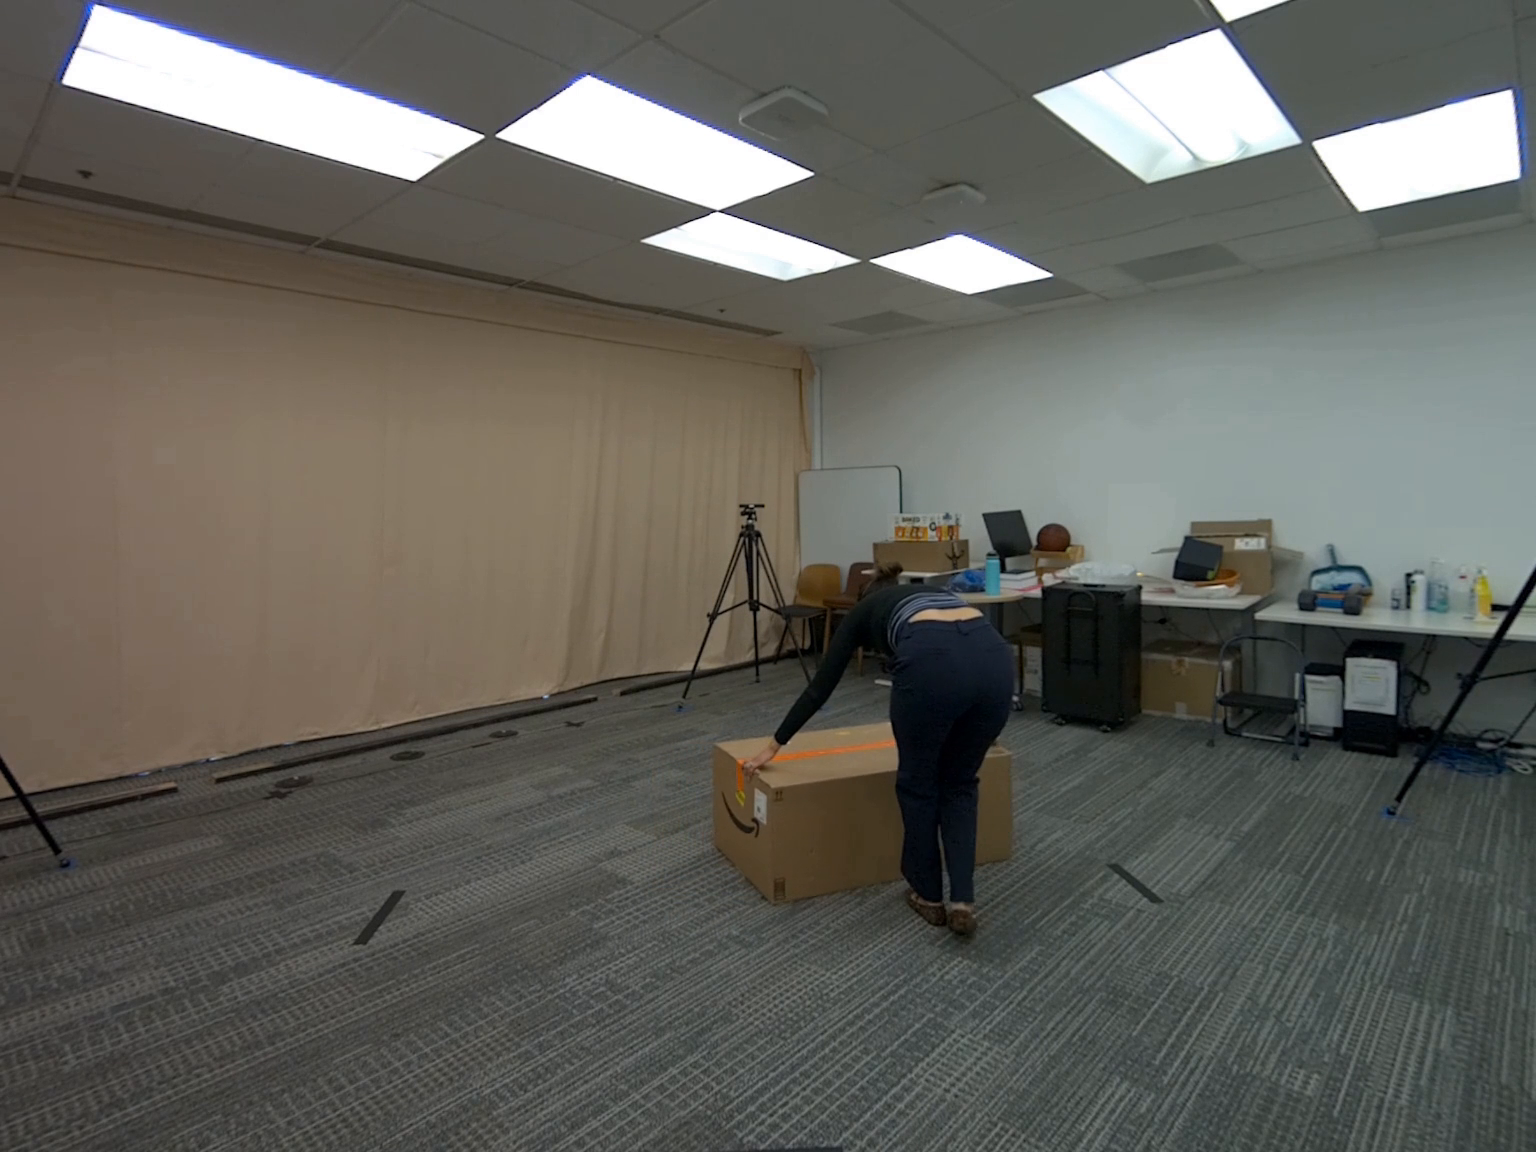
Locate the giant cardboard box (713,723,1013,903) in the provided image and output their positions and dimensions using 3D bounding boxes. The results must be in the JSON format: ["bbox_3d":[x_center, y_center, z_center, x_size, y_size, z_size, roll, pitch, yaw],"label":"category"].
[{"bbox_3d":[0.362,0.887,3.347,1.004,0.425,0.591,-2,4,-21],"label":"giant cardboard box"}]
